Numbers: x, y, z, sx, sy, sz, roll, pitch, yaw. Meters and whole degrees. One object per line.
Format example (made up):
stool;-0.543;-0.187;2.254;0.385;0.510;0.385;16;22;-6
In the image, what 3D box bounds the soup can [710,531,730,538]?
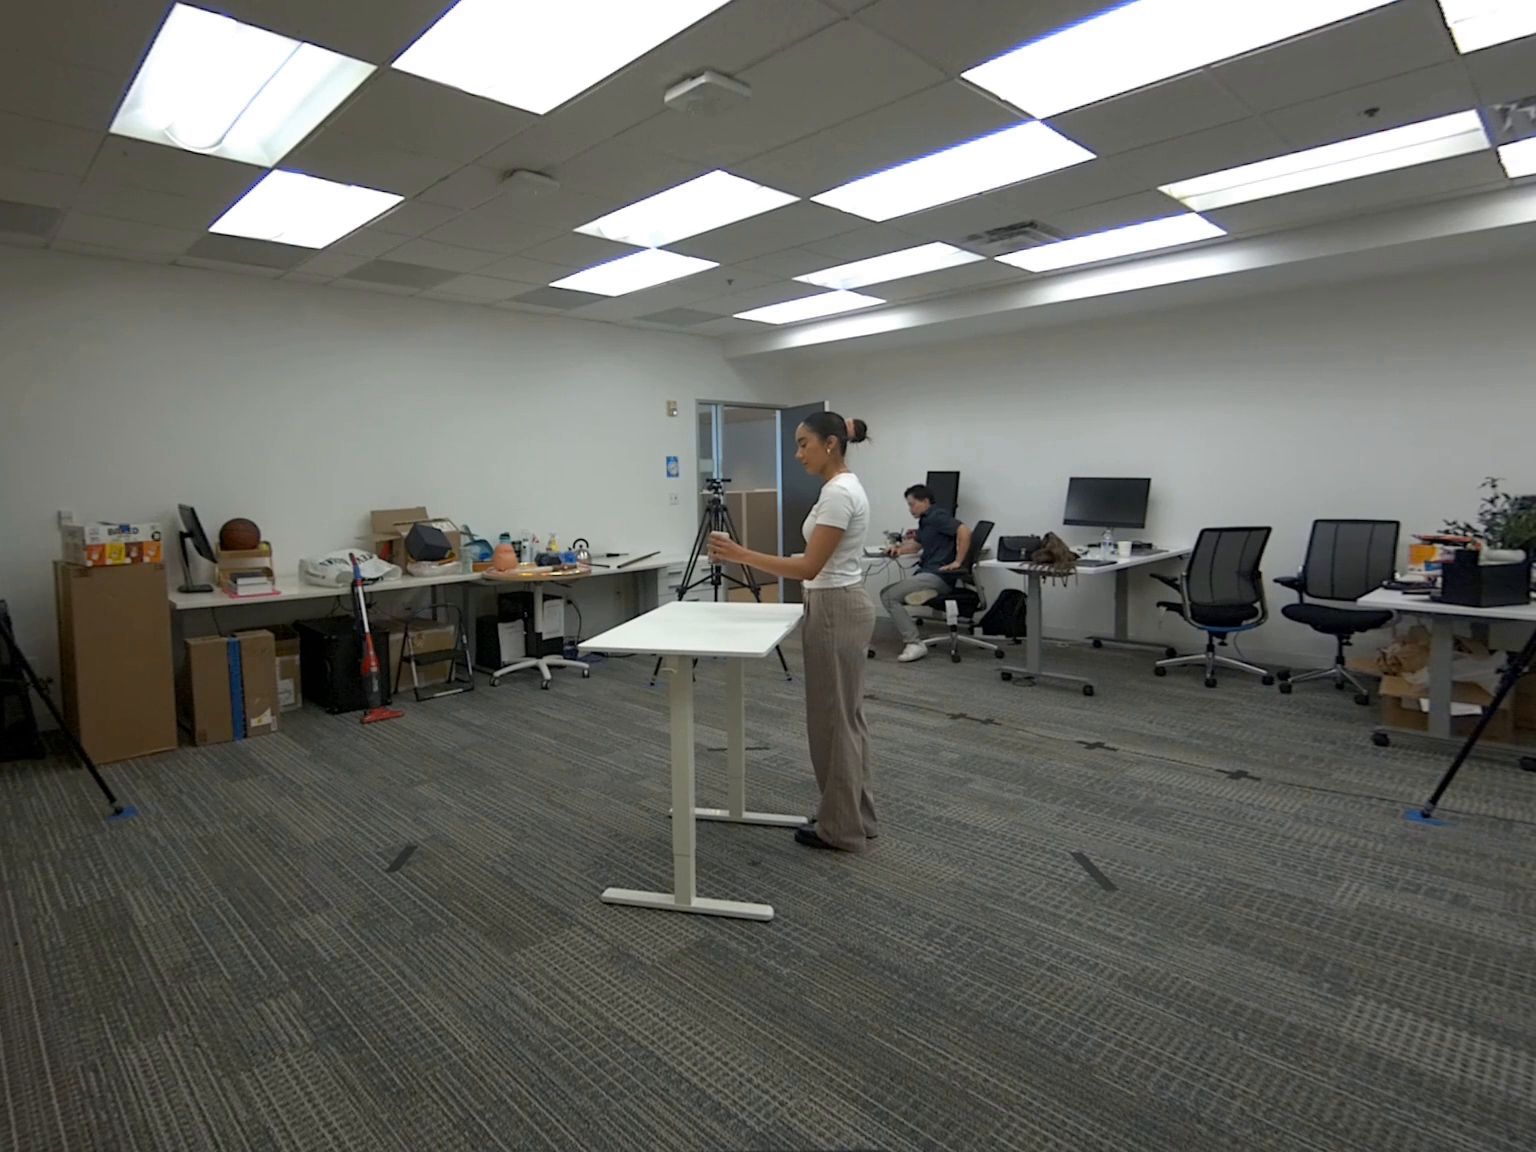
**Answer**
soup can;-0.173;-0.106;3.114;0.067;0.122;0.067;4;-6;-1
